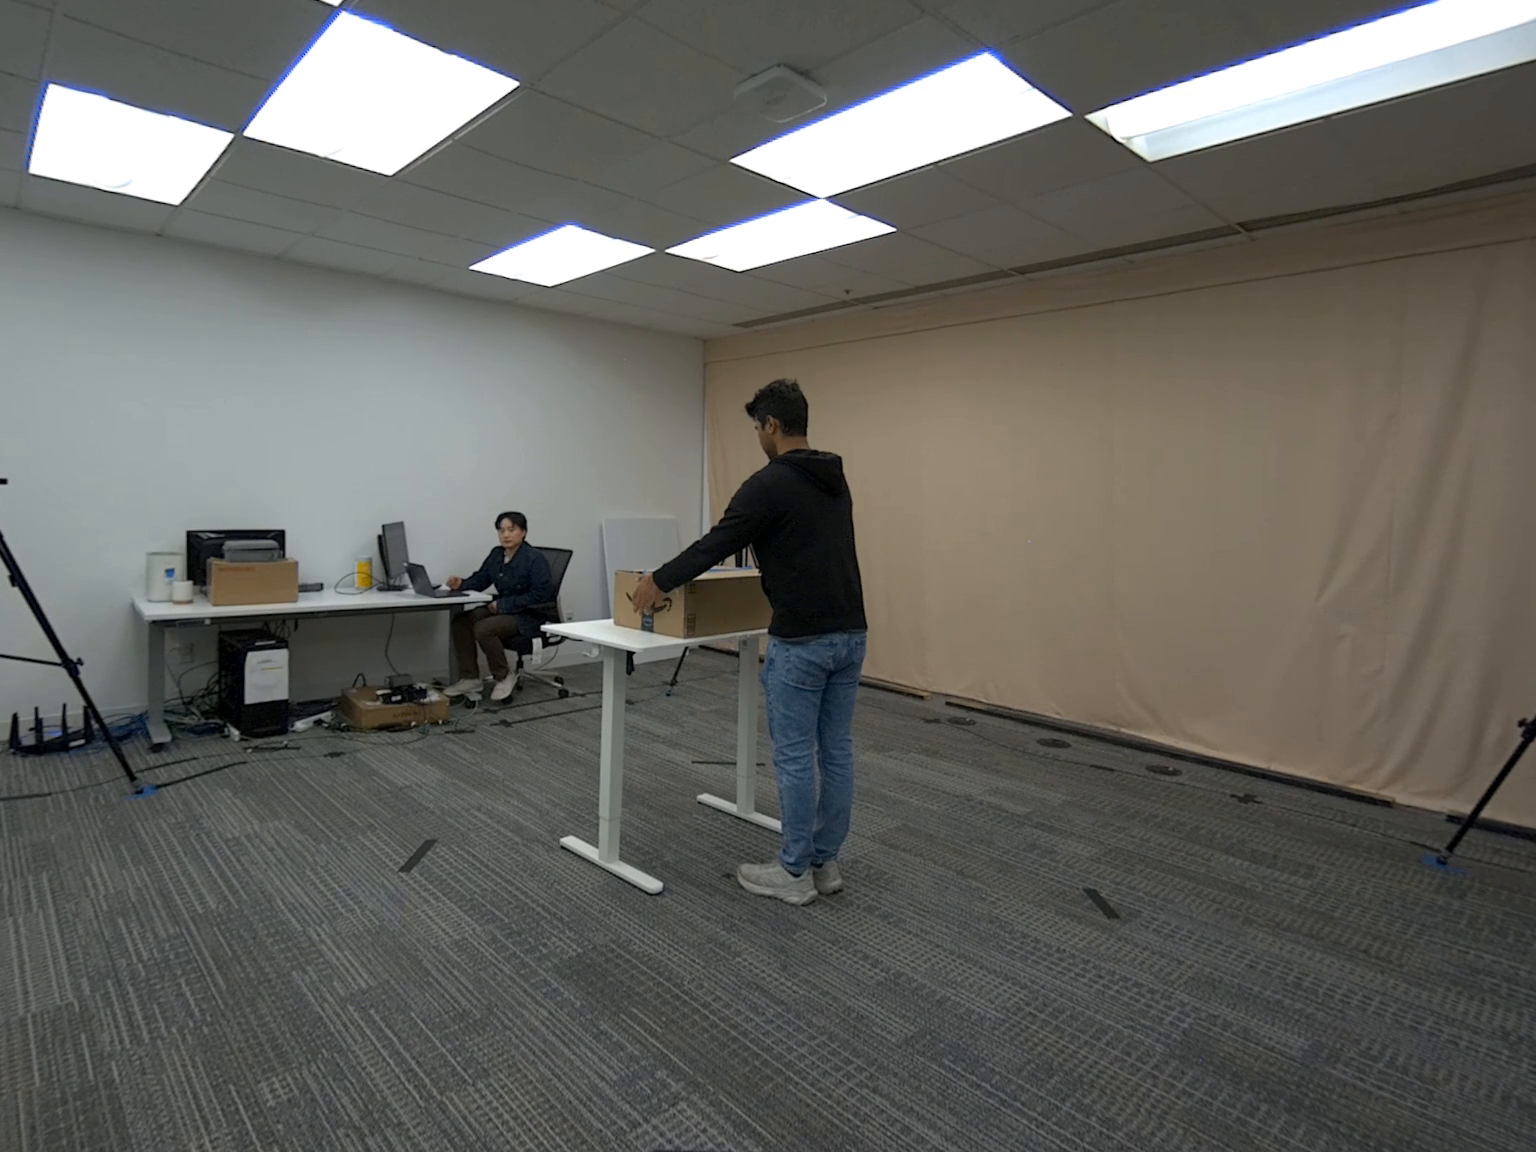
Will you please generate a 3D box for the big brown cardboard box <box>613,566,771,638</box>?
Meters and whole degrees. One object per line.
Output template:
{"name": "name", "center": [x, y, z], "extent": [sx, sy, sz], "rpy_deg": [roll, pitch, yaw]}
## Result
{"name": "big brown cardboard box", "center": [-0.264, 0.090, 3.353], "extent": [0.428, 0.232, 0.575], "rpy_deg": [6, 5, 43]}
